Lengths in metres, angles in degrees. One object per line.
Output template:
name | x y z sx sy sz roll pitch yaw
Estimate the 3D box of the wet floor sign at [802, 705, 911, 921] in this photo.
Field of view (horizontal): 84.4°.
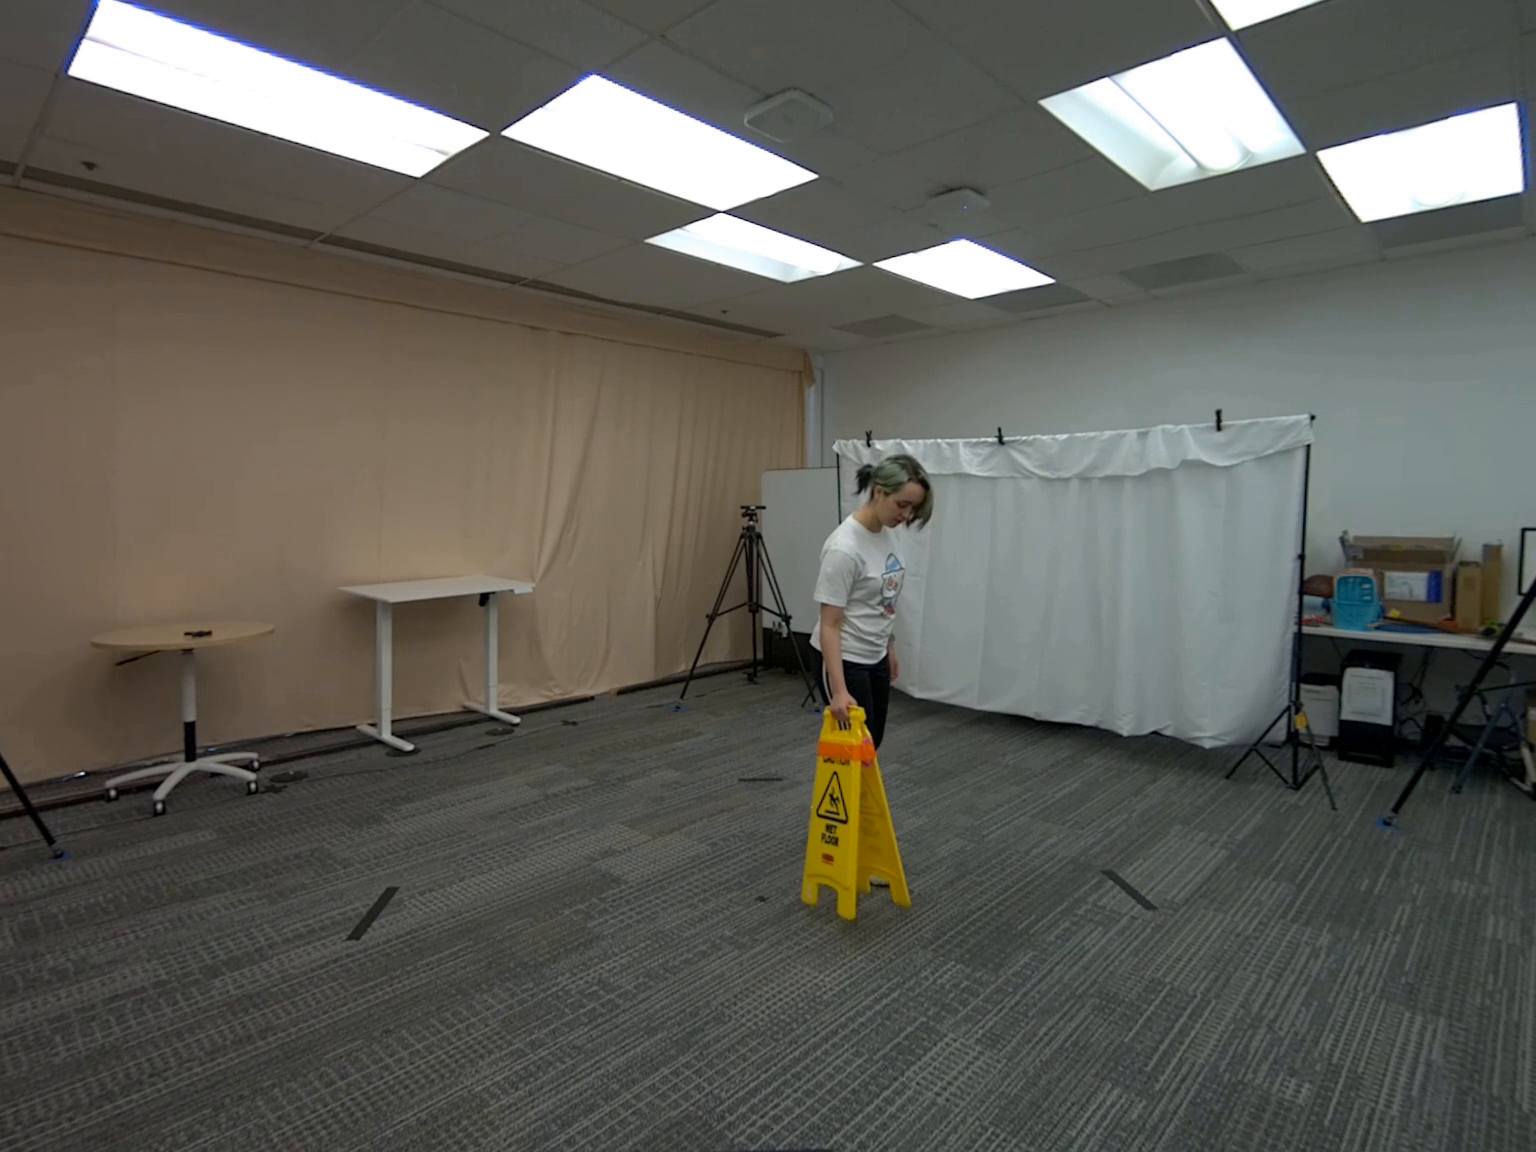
wet floor sign | 0.281 0.776 2.856 0.282 0.649 0.289 1 -7 -30
